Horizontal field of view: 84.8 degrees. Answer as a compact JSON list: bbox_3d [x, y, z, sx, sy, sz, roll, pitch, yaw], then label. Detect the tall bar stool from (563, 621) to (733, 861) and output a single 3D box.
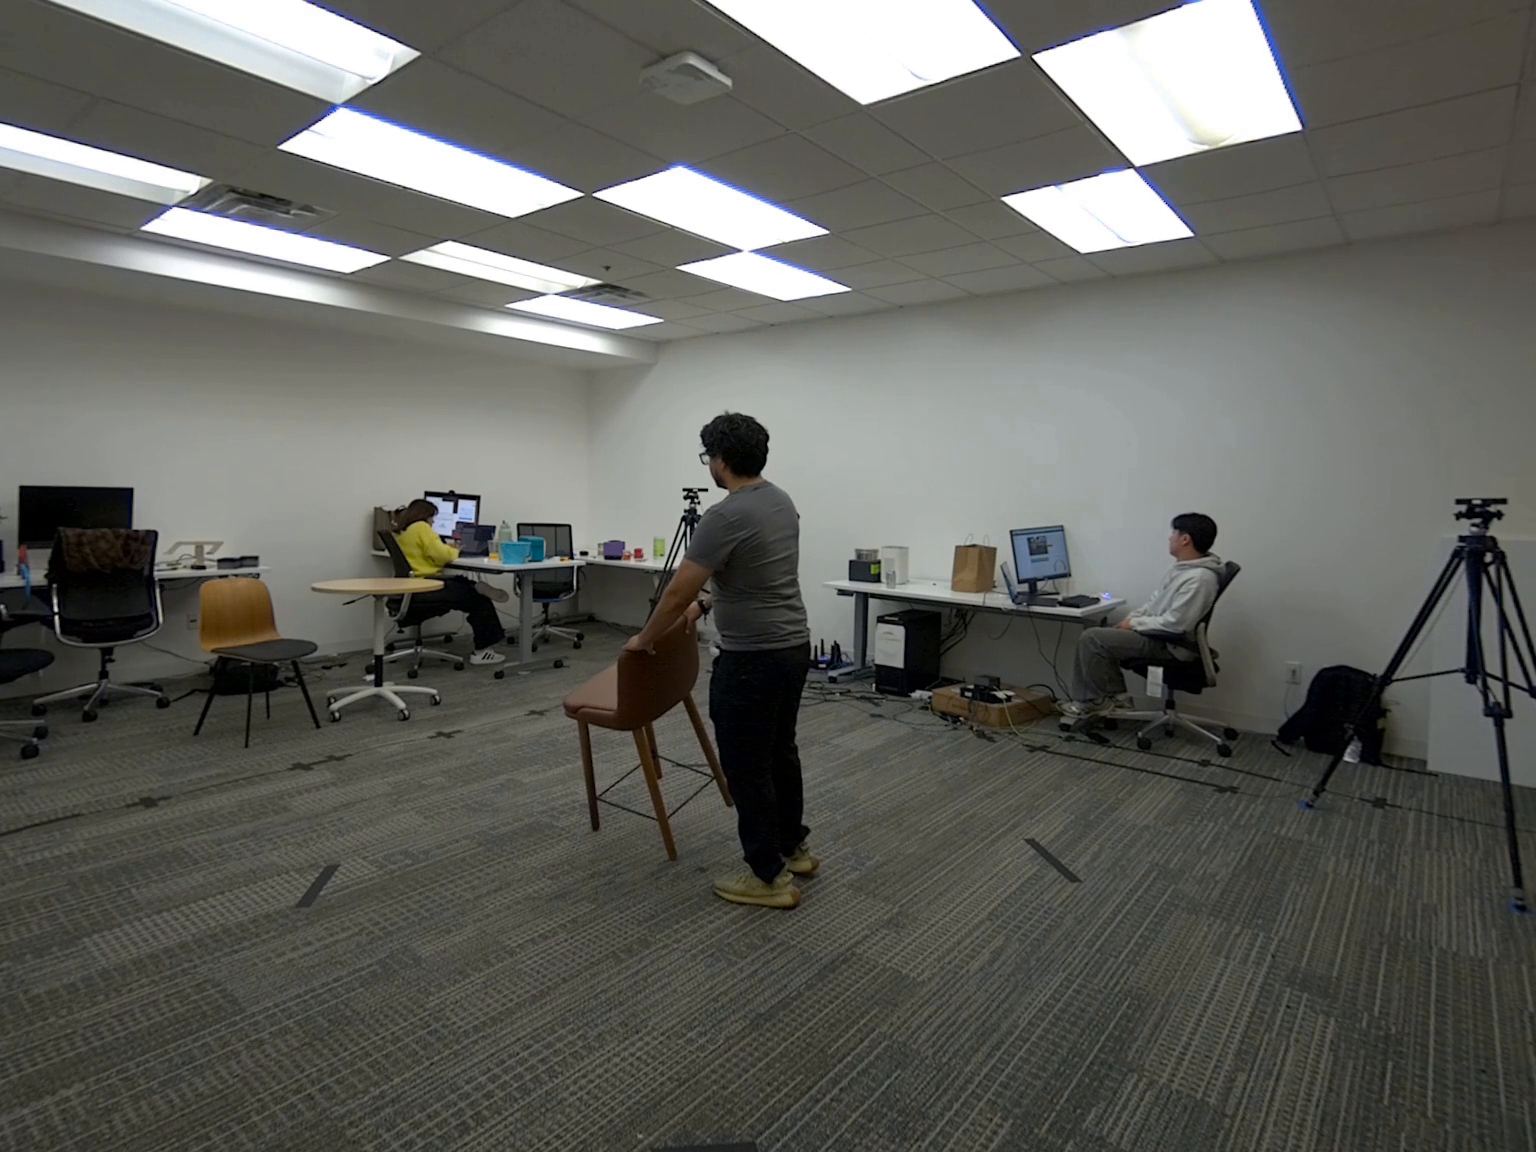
[{"bbox_3d":[-0.498,0.574,3.320,0.484,0.872,0.450,8,24,39],"label":"tall bar stool"}]
